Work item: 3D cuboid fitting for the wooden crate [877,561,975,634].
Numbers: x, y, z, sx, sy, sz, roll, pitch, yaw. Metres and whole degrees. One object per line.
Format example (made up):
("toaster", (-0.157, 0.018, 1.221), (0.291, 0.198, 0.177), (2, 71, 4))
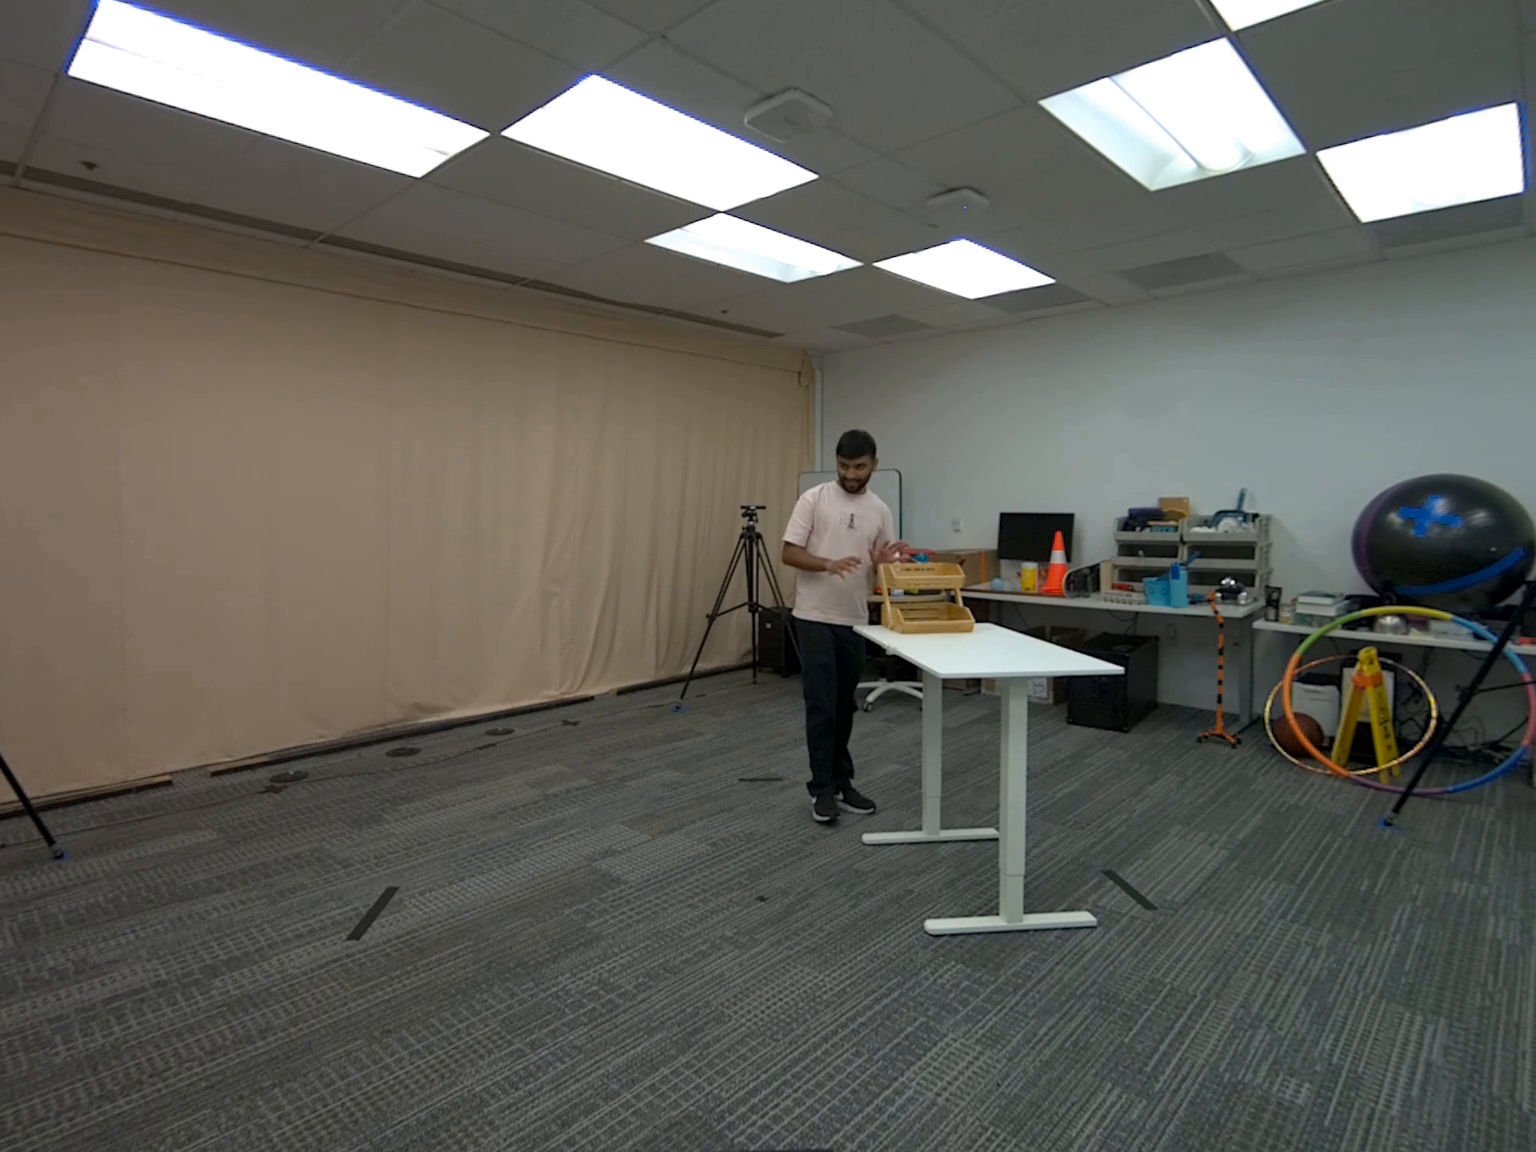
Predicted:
("wooden crate", (0.654, 0.083, 3.473), (0.320, 0.273, 0.306), (0, 1, -13))
